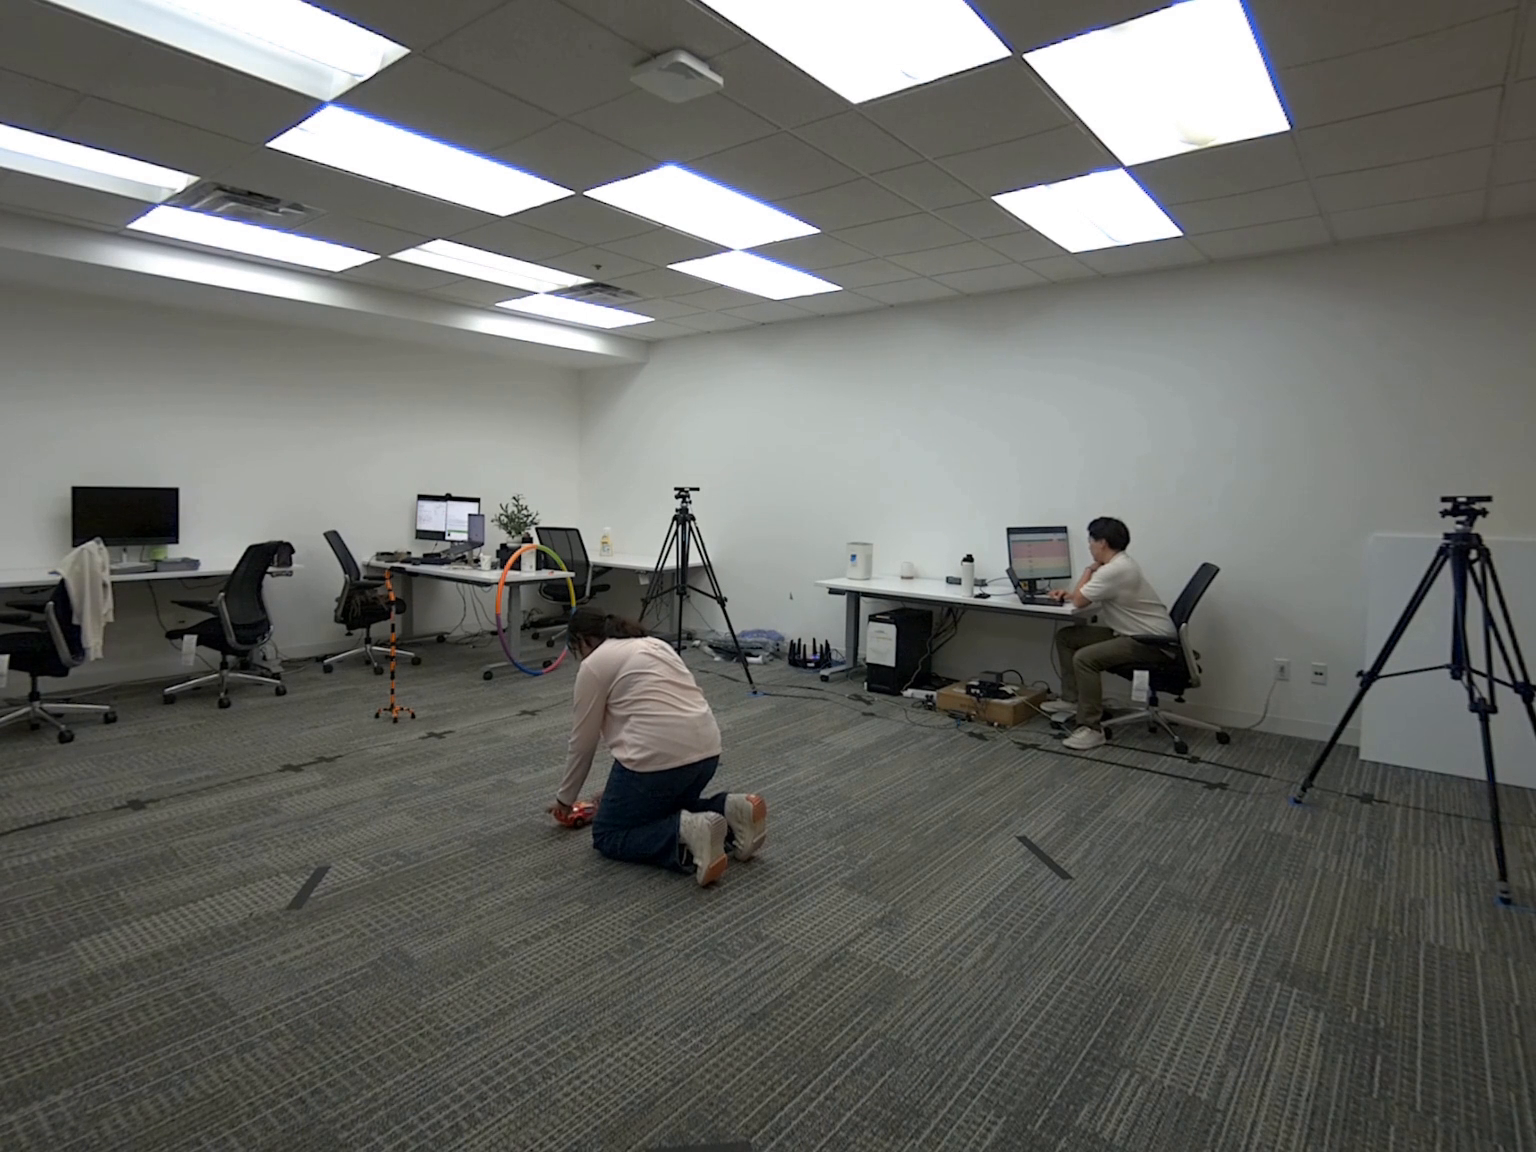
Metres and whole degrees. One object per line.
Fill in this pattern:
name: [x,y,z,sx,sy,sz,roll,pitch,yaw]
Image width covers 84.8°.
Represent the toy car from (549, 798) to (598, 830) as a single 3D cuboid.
toy car: [-0.785,0.986,3.524,0.245,0.083,0.134,11,-5,-44]
